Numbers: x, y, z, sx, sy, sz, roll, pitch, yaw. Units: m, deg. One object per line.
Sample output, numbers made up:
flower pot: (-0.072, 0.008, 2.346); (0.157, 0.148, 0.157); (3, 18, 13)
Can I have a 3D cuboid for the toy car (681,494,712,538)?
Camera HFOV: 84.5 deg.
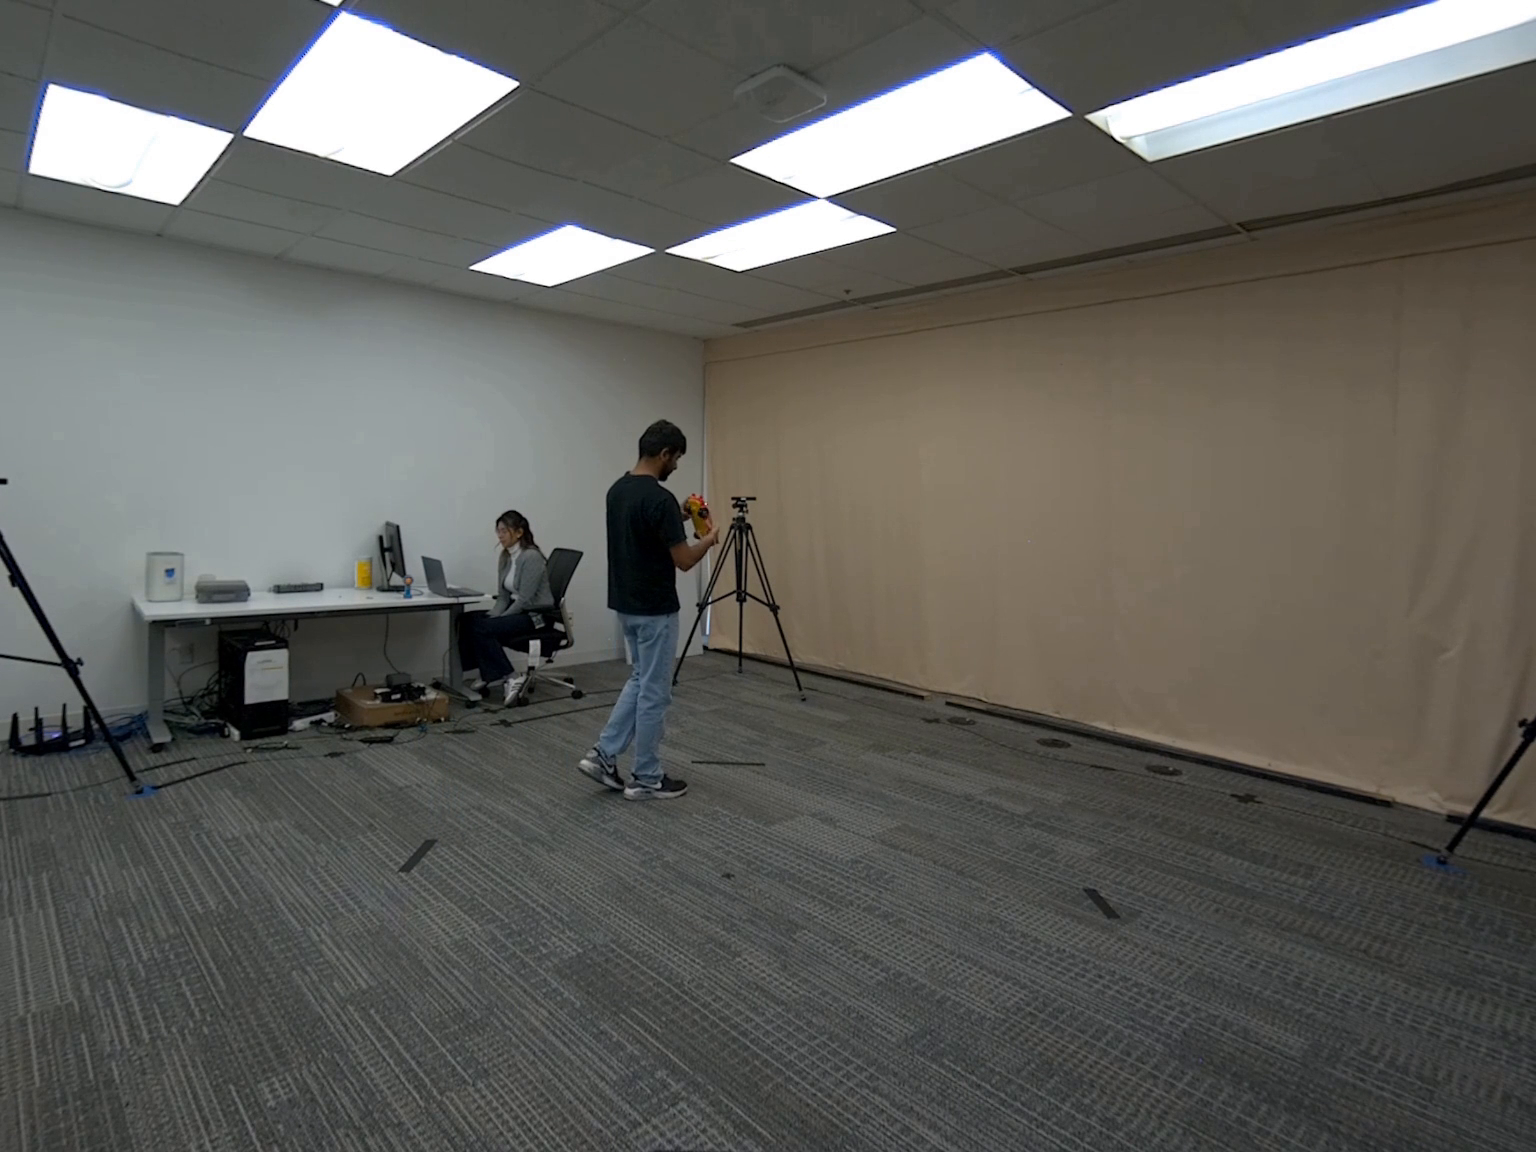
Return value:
toy car: (-0.334, -0.275, 4.023); (0.082, 0.250, 0.134); (-24, 30, -38)
